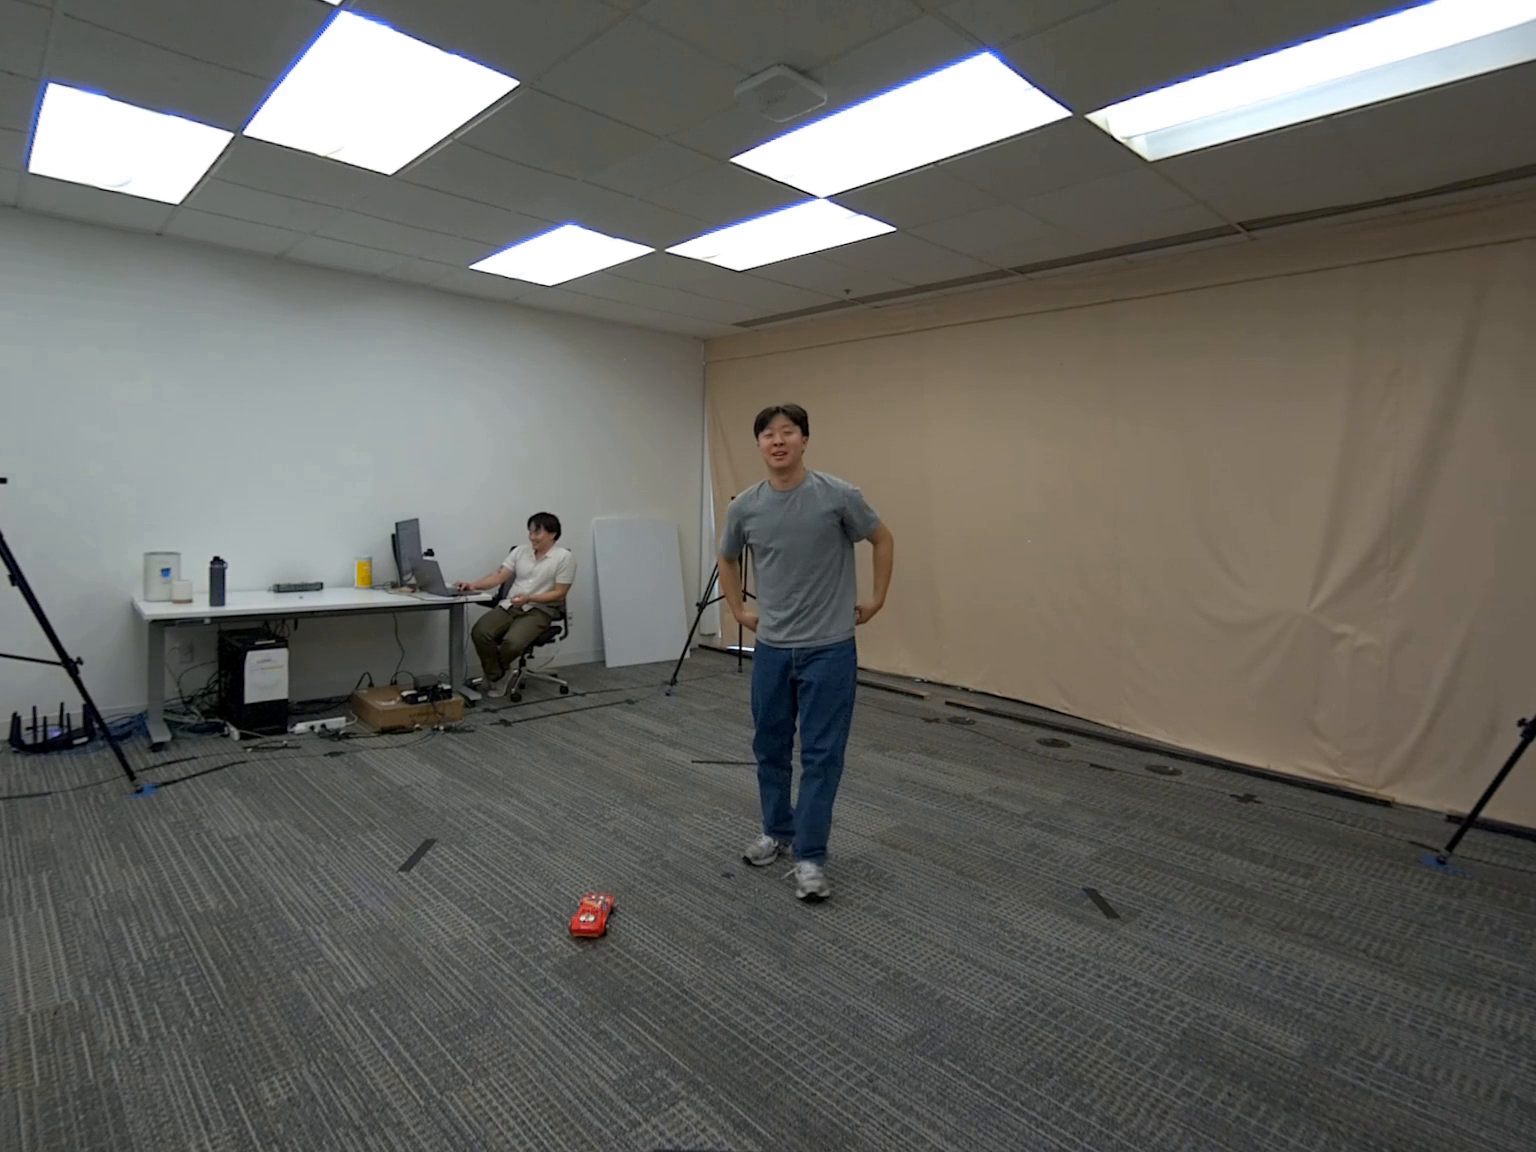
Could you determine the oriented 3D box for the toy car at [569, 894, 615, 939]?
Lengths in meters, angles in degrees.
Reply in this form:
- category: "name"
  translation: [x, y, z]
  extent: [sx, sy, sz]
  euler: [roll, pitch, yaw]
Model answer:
- category: "toy car"
  translation: [-0.584, 1.103, 2.708]
  extent: [0.130, 0.083, 0.253]
  euler: [2, -6, -1]
